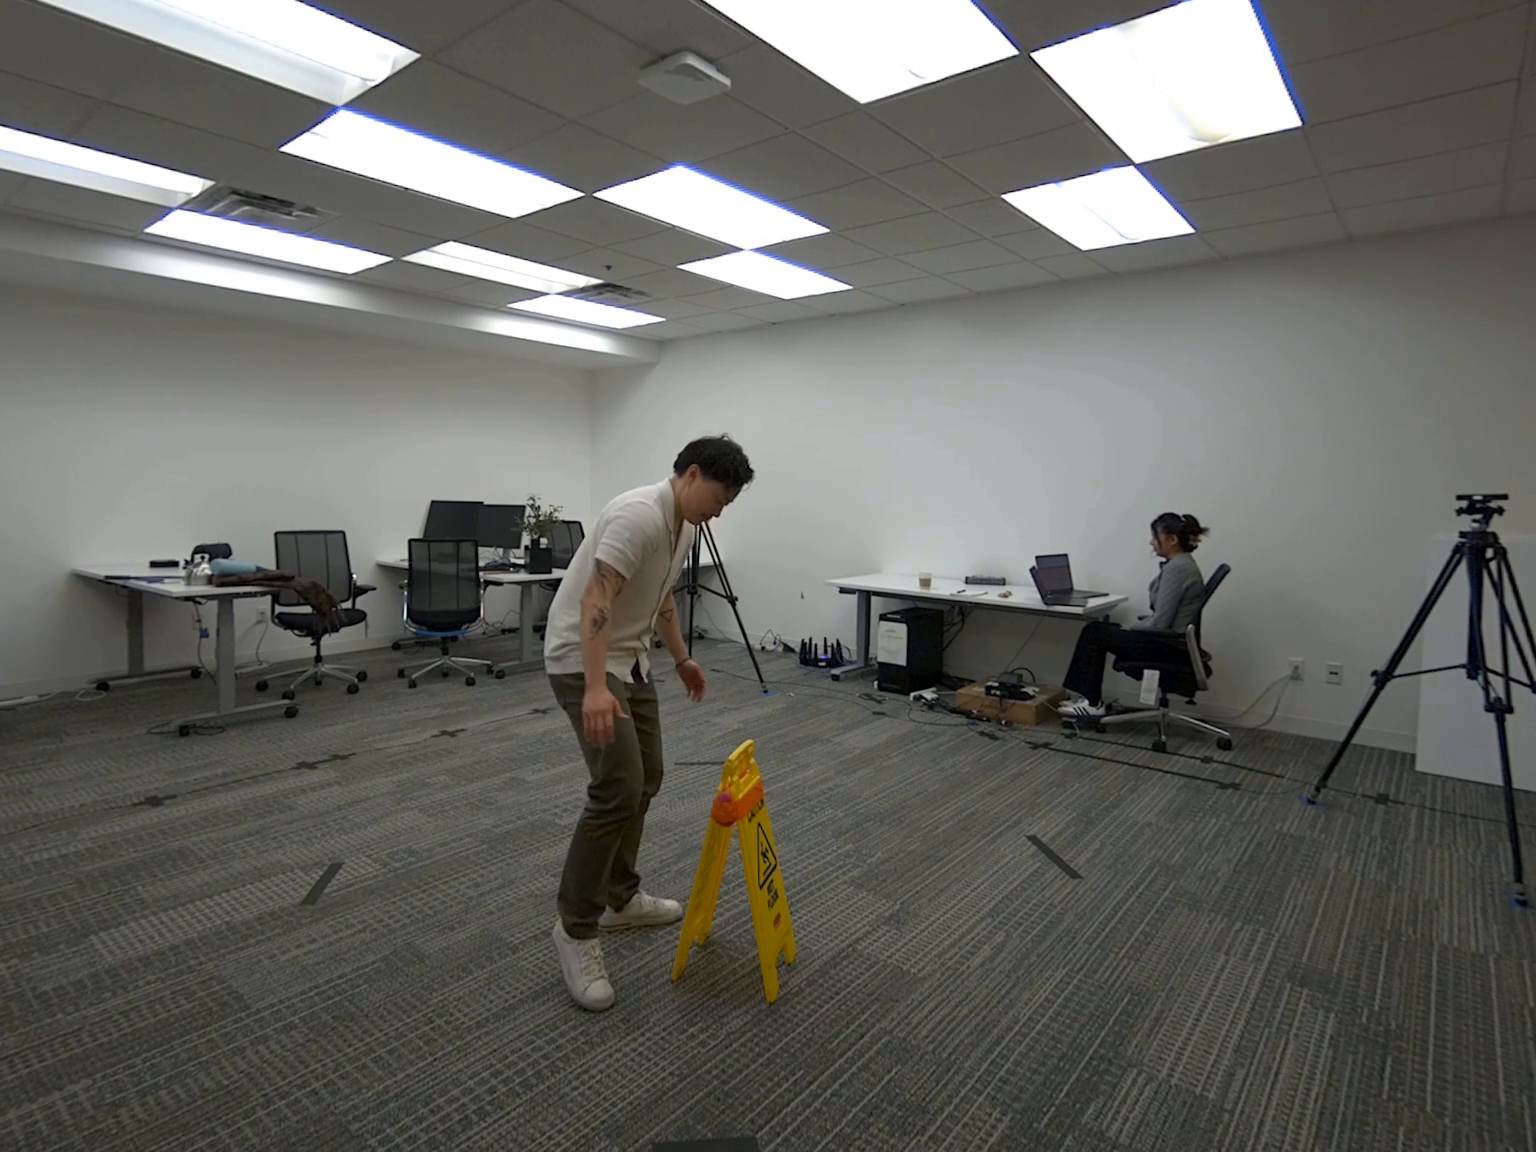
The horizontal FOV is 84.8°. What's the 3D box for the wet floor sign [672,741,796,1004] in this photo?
[{"bbox_3d":[-0.091,0.812,2.449,0.295,0.643,0.278,3,5,17],"label":"wet floor sign"}]
